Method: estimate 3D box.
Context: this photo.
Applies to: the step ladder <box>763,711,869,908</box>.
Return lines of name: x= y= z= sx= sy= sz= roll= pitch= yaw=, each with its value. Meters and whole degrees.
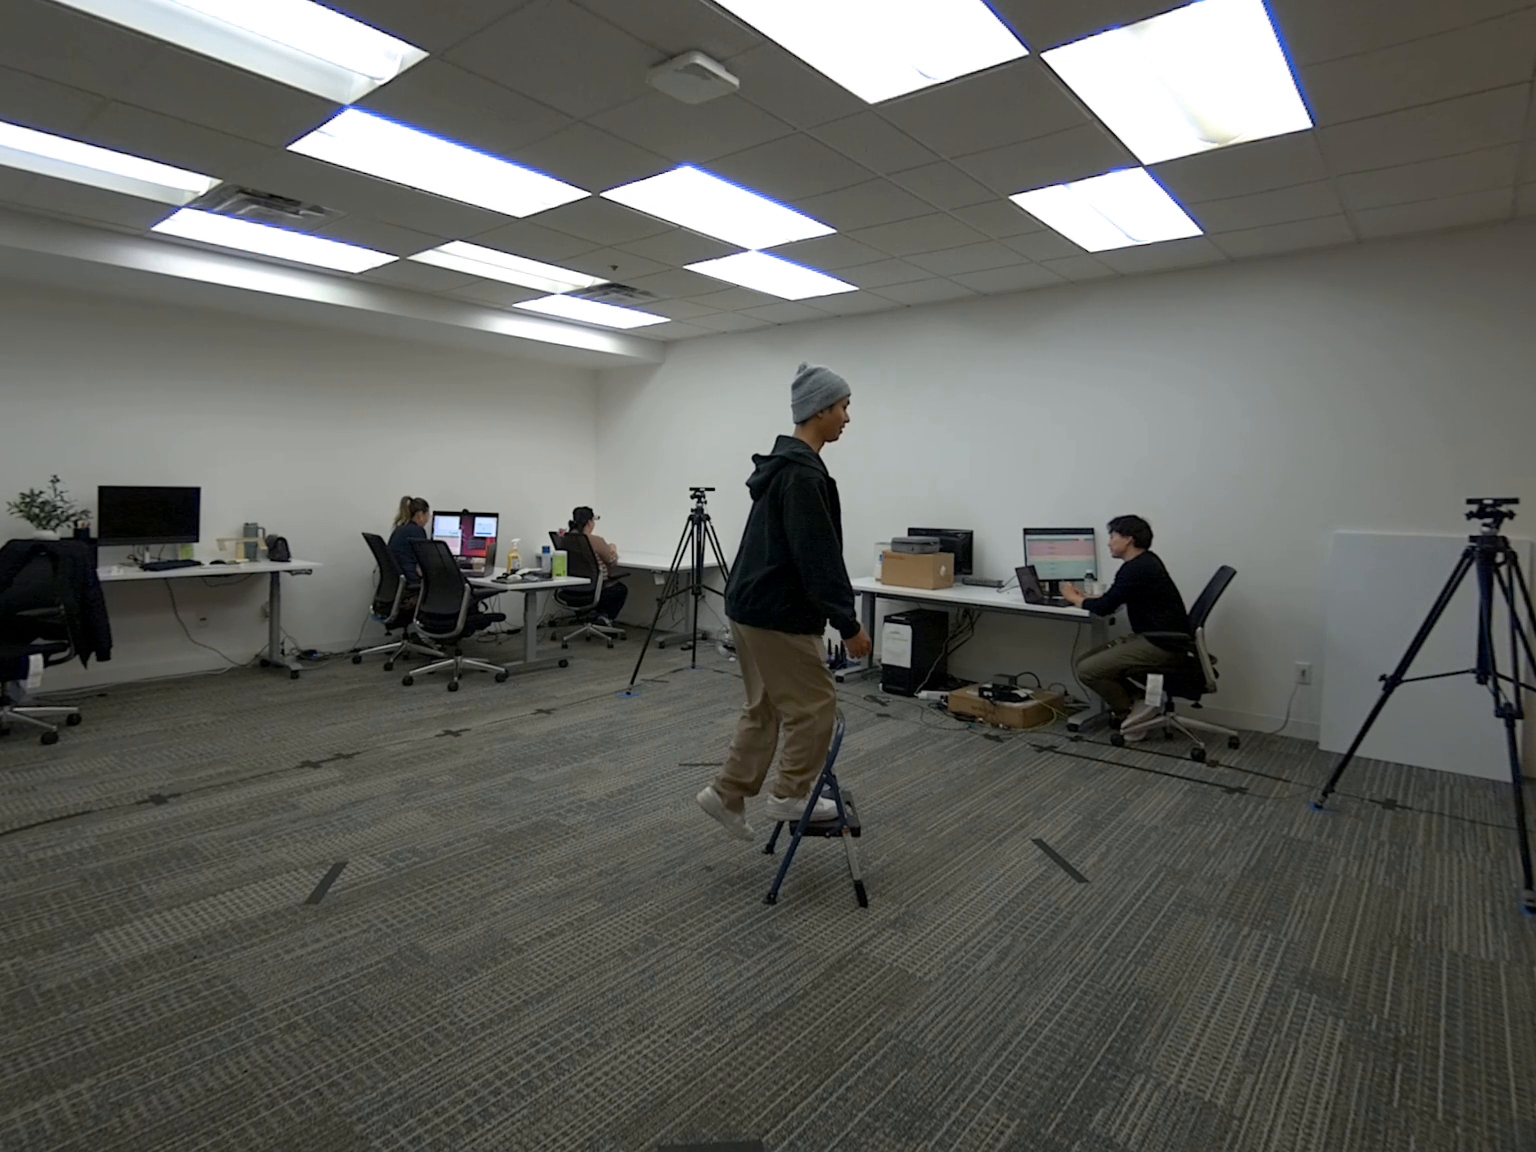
step ladder: x=0.162 y=0.787 z=3.038 sx=0.349 sy=0.604 sz=0.432 roll=1 pitch=4 yaw=-1
